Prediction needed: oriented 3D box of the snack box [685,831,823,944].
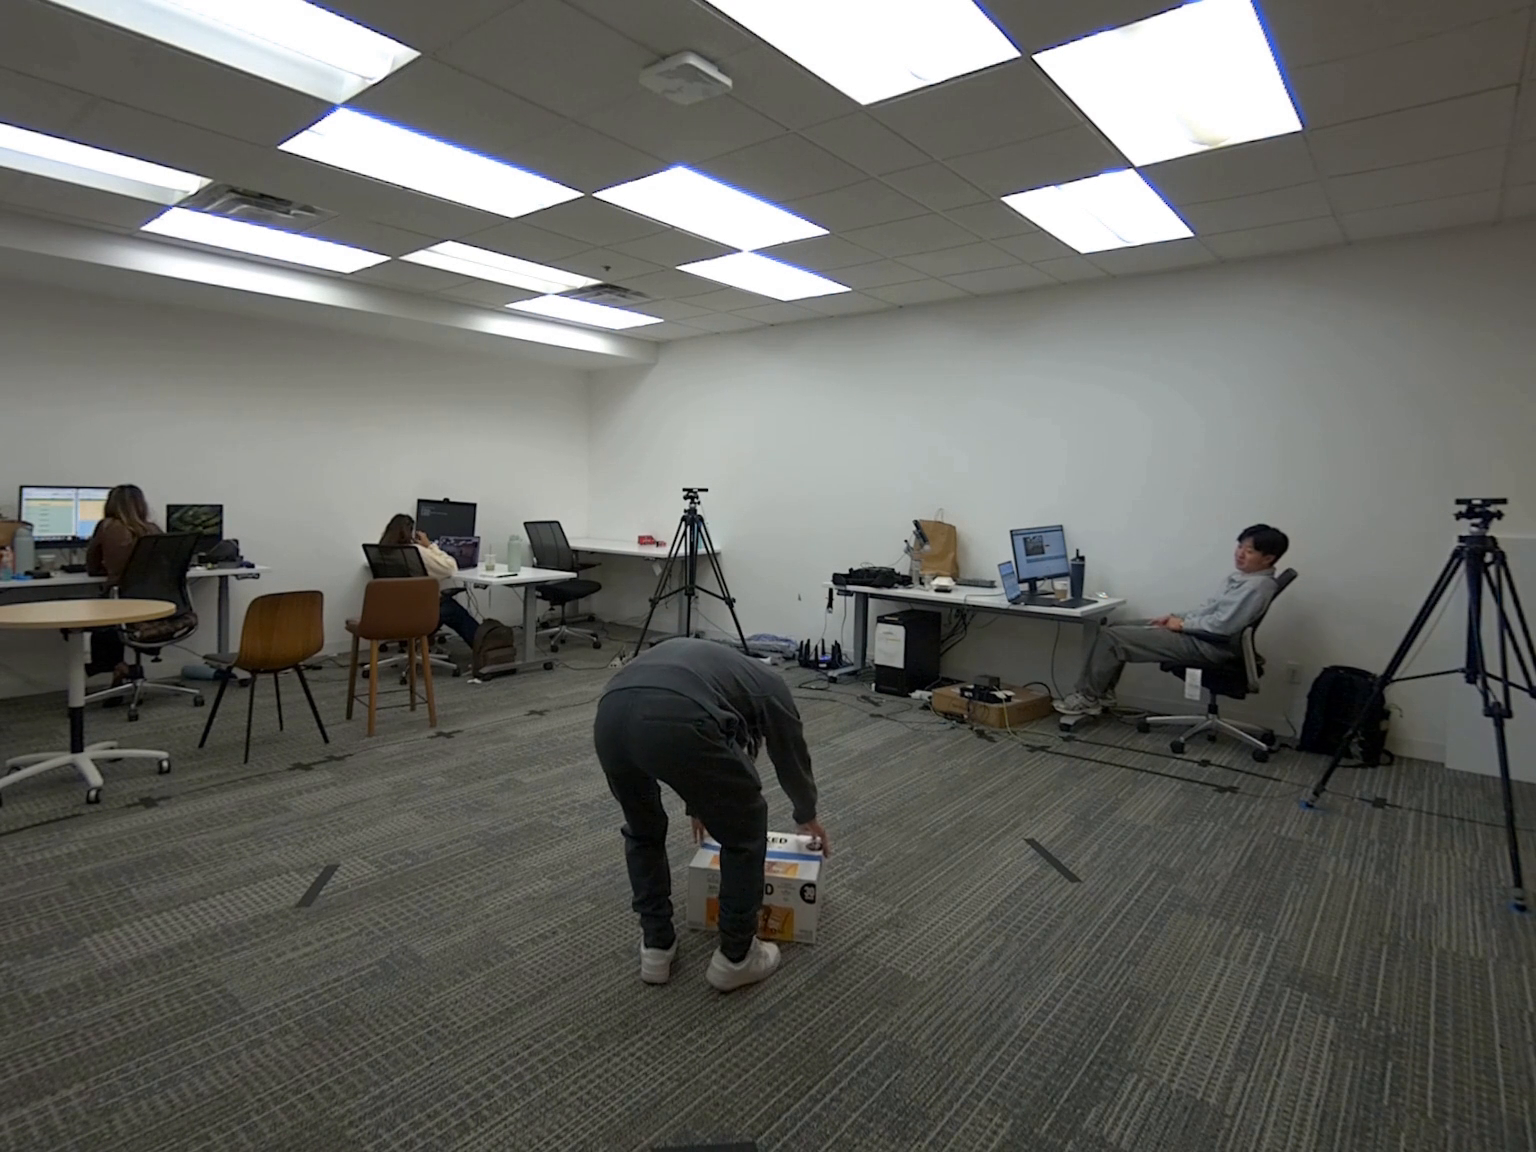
[{"bbox_3d":[-0.037,1.004,2.798,0.410,0.205,0.337,2,5,11],"label":"snack box"}]
